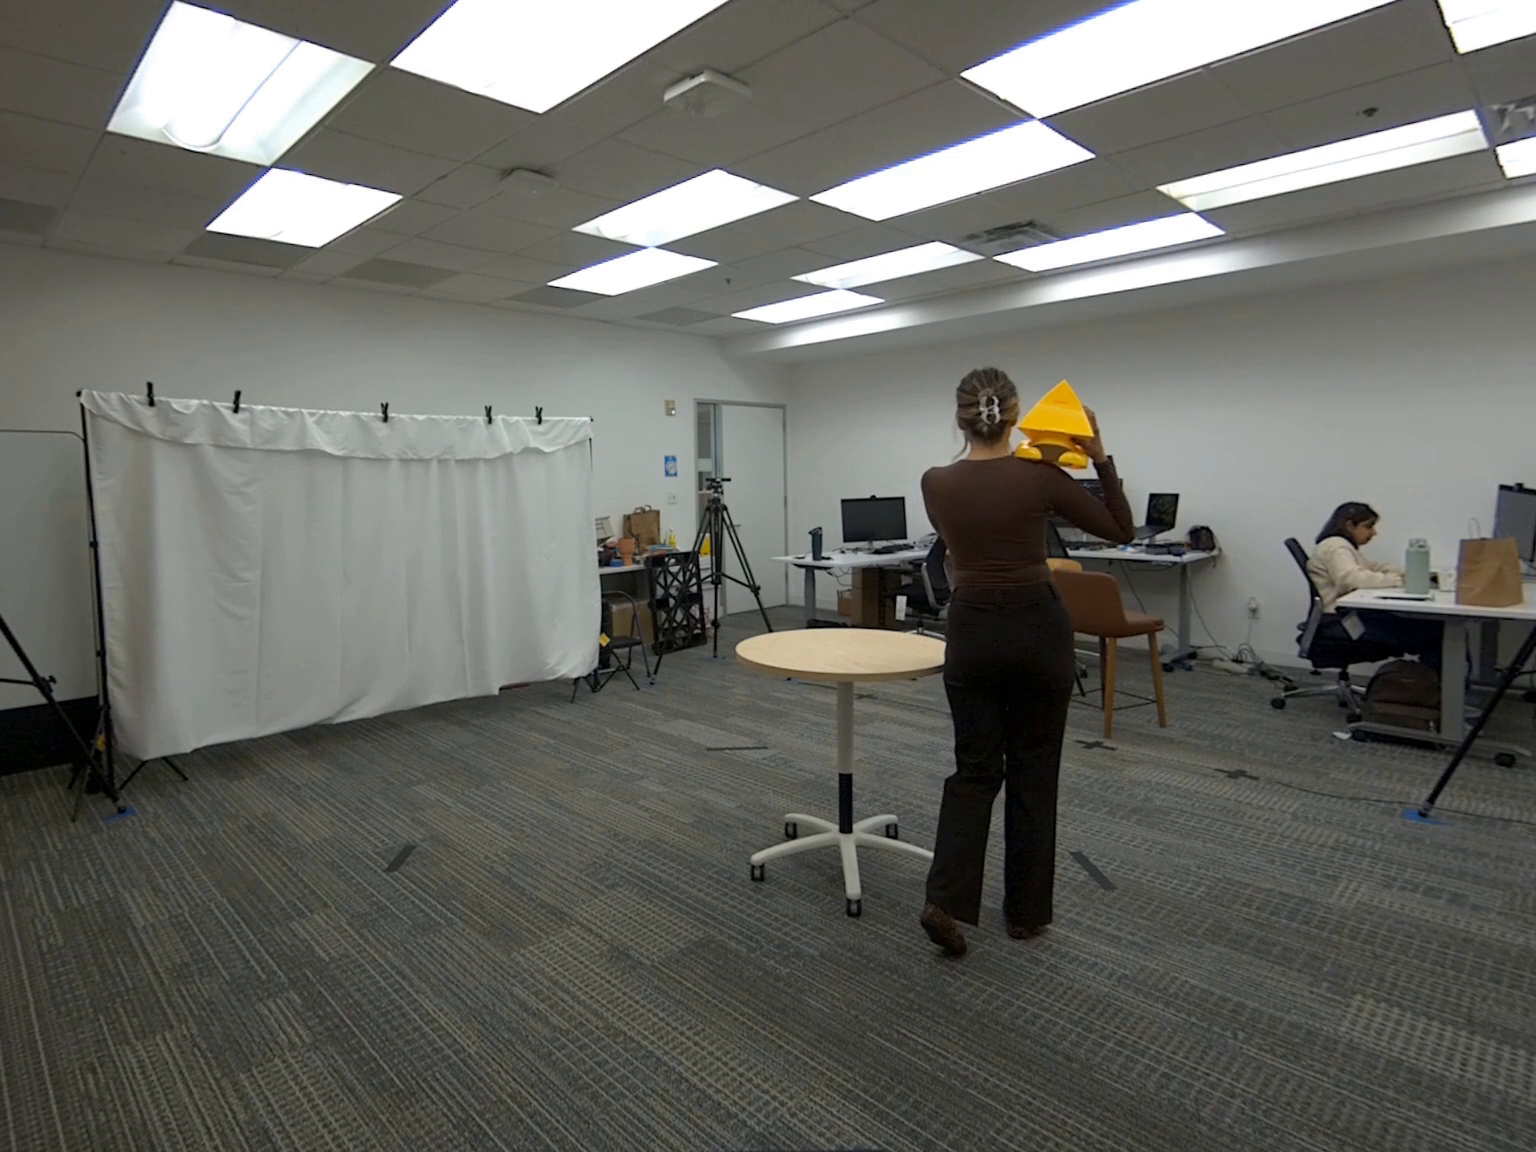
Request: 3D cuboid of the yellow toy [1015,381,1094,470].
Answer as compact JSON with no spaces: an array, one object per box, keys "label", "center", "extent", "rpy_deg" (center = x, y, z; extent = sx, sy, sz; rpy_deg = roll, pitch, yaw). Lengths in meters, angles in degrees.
[{"label":"yellow toy","center":[0.836,-0.440,2.469],"extent":[0.209,0.230,0.189],"rpy_deg":[11,3,20]}]
